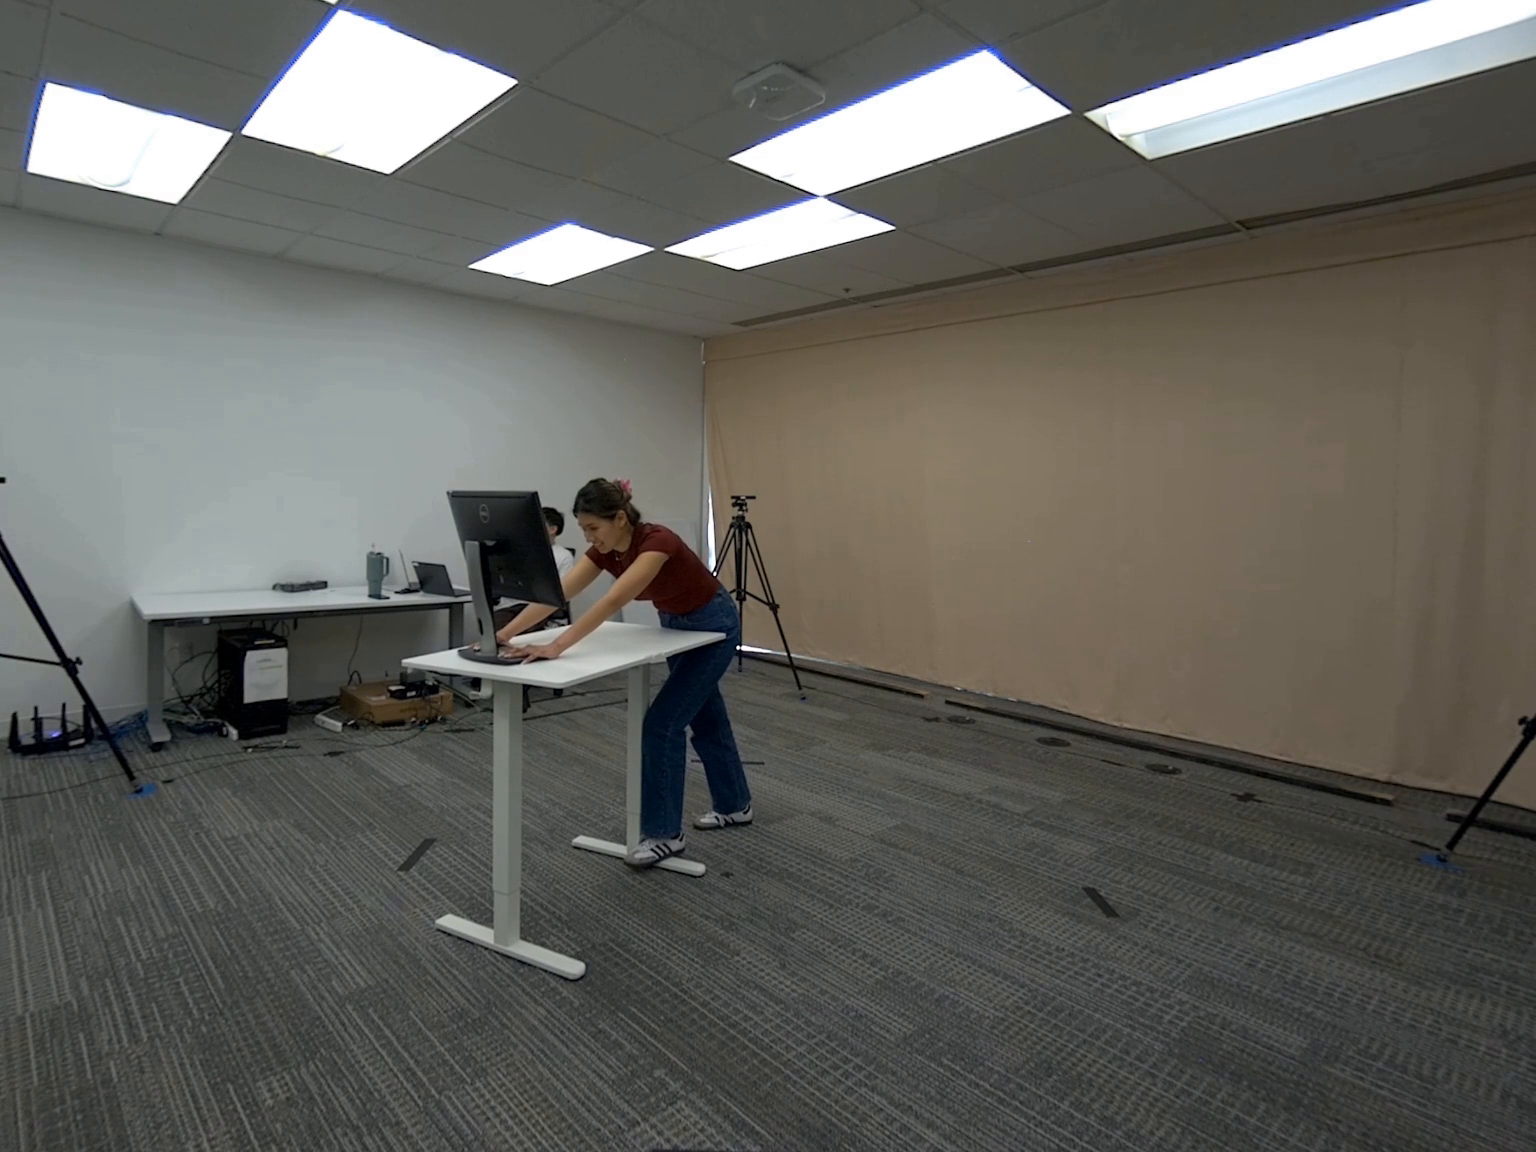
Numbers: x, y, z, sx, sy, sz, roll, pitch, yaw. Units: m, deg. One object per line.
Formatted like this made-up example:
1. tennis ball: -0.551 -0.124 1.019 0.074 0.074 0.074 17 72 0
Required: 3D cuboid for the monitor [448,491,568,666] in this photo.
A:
1. monitor: -0.837 -0.001 2.585 0.552 0.520 0.183 3 7 40
